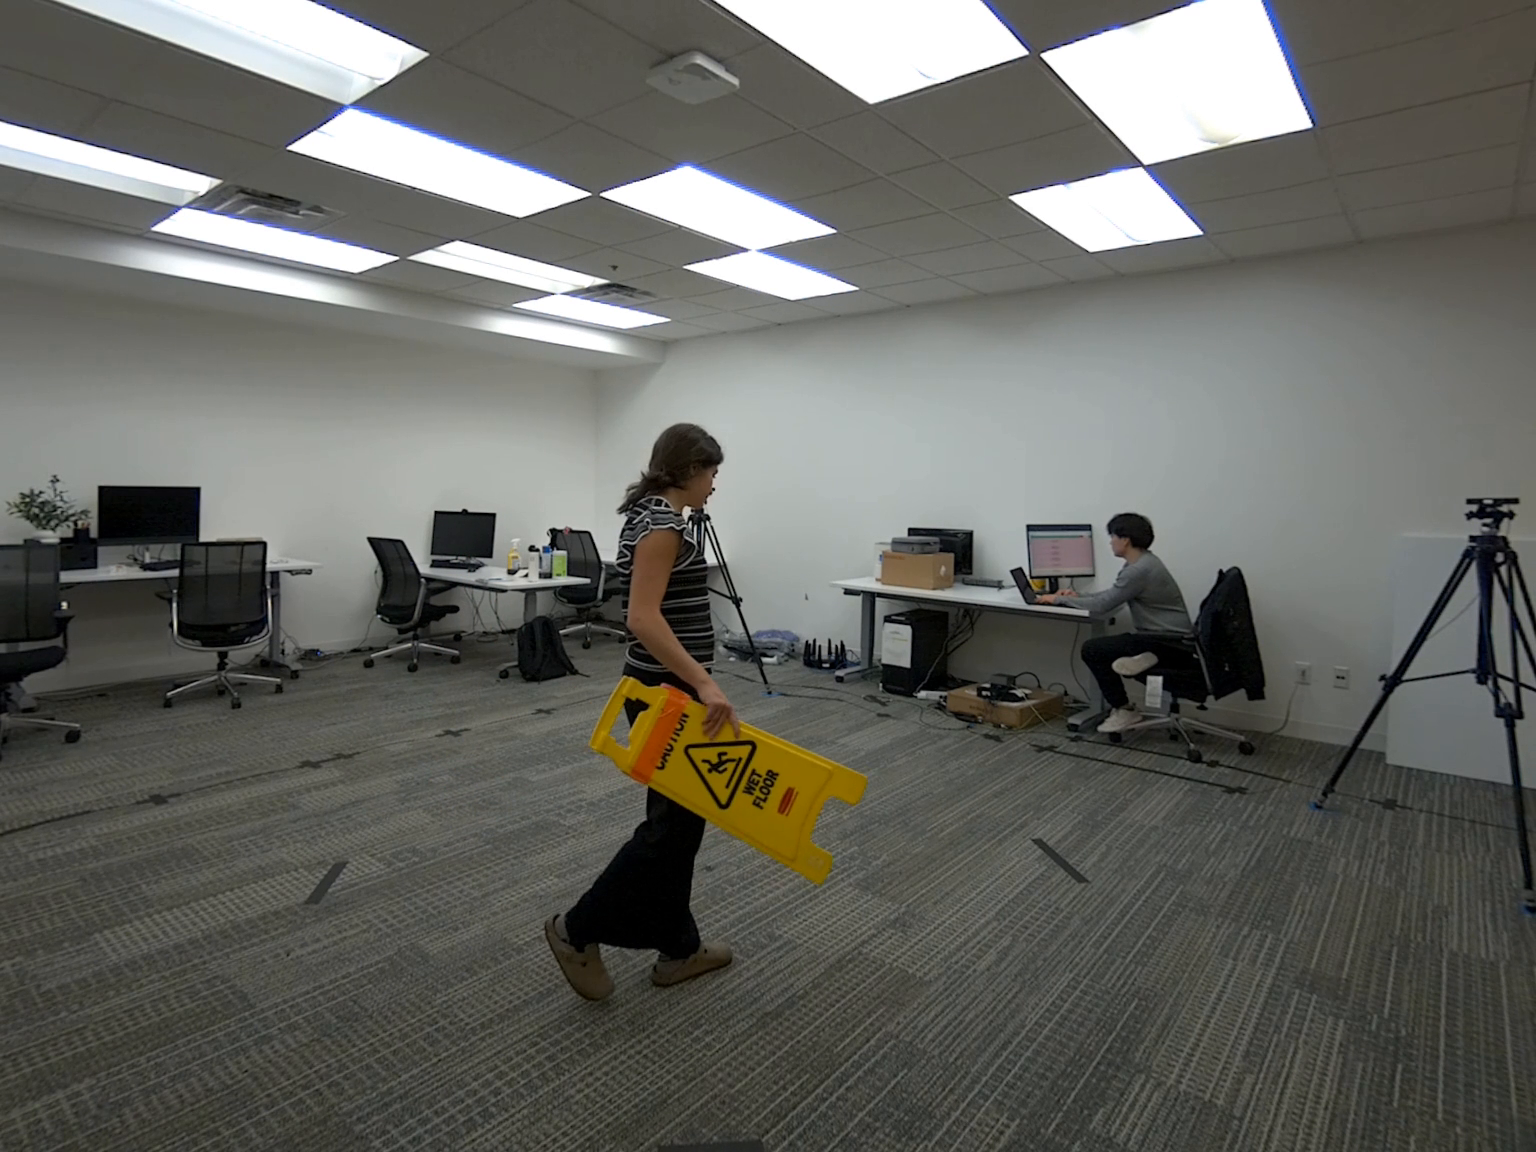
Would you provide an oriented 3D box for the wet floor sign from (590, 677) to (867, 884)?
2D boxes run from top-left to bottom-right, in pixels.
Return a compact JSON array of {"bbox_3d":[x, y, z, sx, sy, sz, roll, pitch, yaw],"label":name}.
[{"bbox_3d":[-0.133,0.484,2.157,0.638,0.284,0.292,28,-14,-9],"label":"wet floor sign"}]
